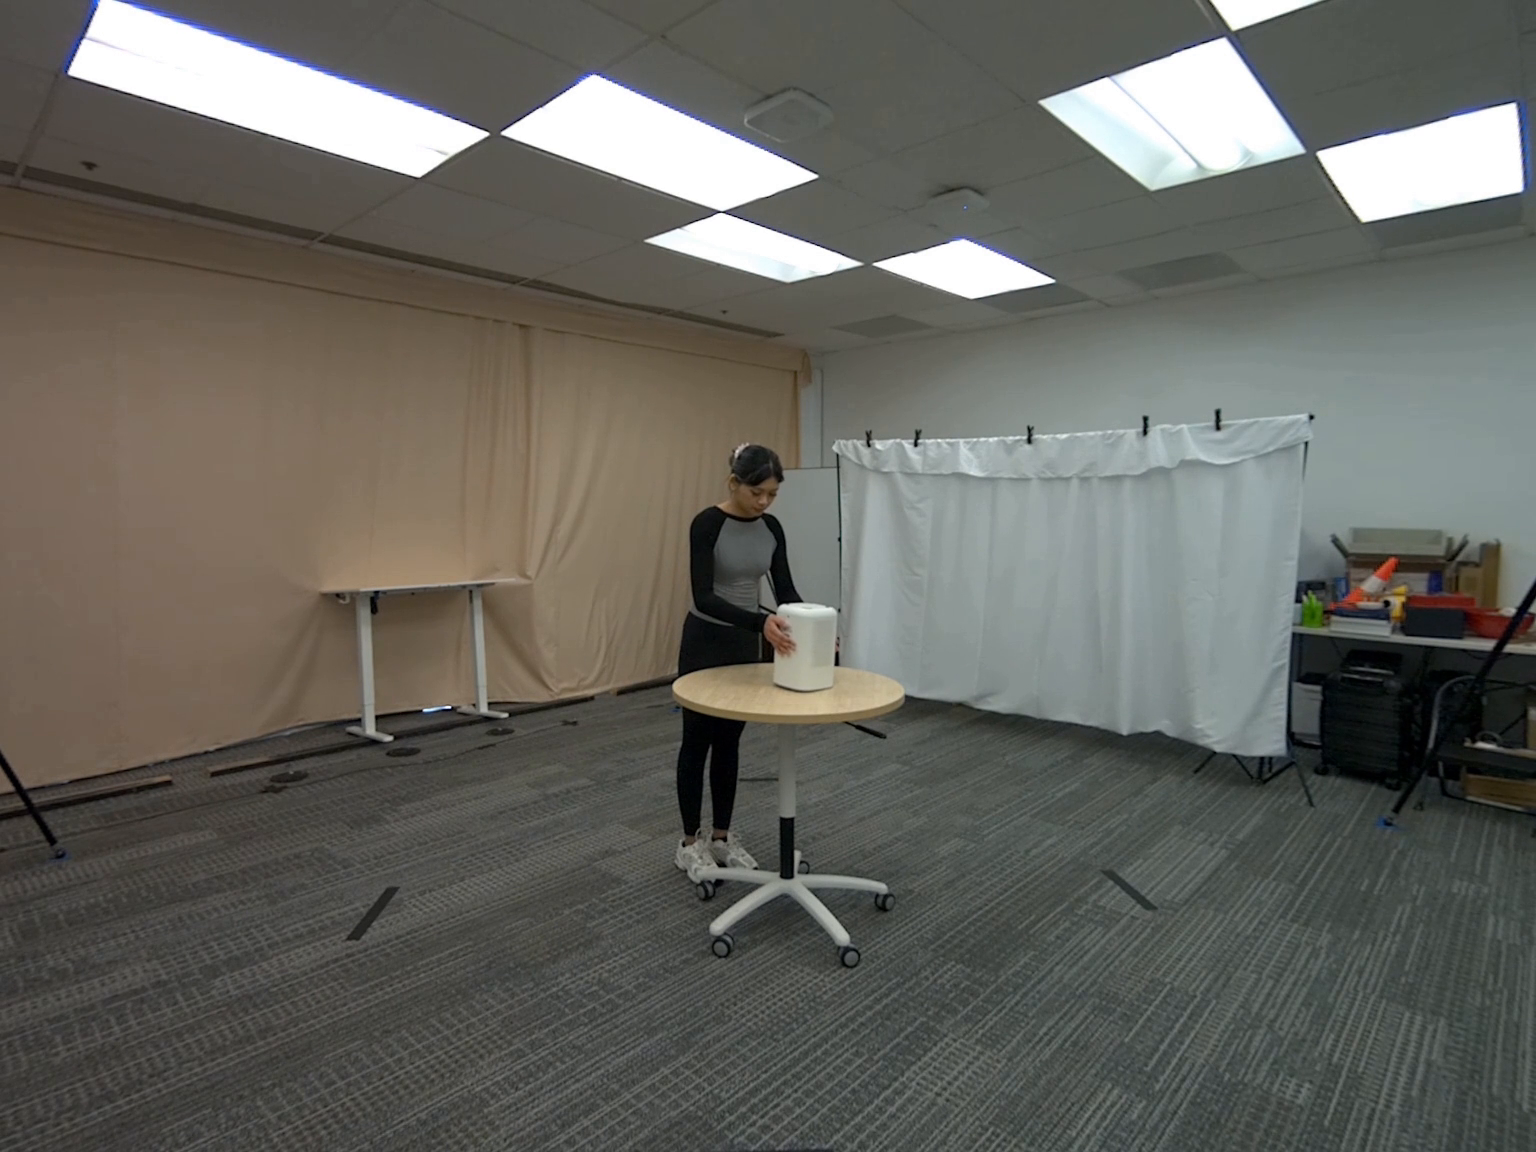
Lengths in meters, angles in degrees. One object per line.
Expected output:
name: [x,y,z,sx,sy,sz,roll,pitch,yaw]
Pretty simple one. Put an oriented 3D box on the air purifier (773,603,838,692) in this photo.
air purifier: [0.127,0.229,2.792,0.166,0.265,0.177,0,4,-42]
